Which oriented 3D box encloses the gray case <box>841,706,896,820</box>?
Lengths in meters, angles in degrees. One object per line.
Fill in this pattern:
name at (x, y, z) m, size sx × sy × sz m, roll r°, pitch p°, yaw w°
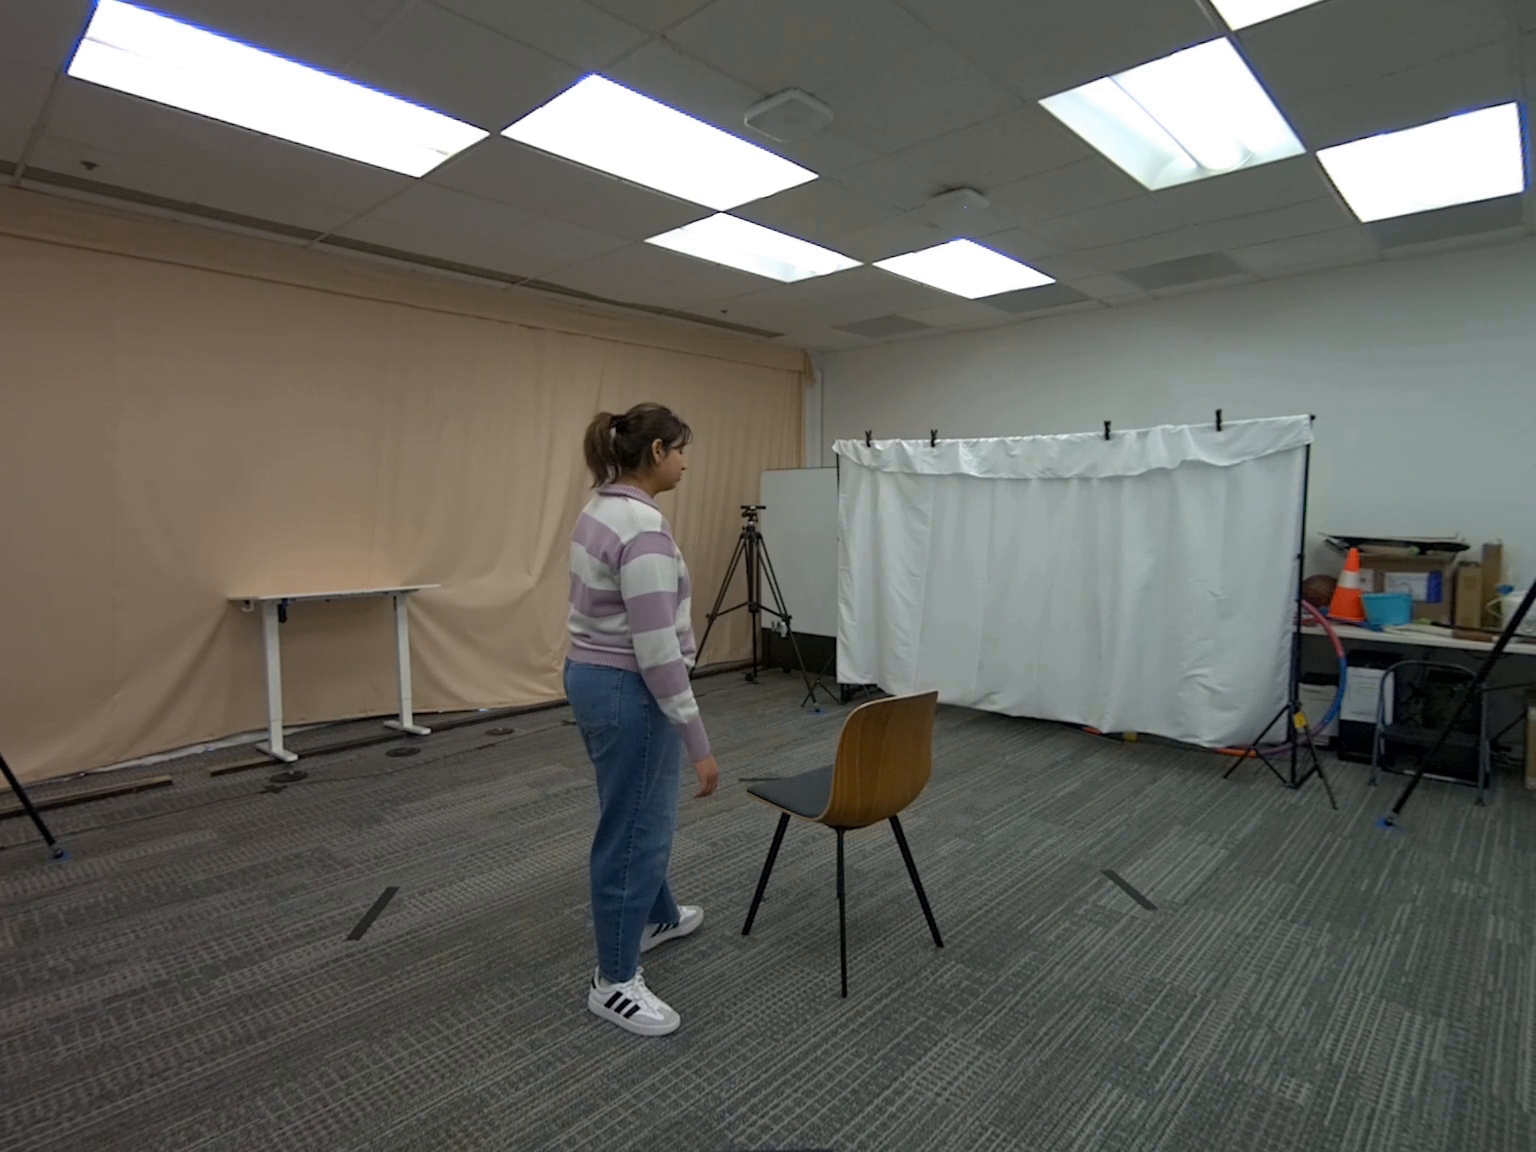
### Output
gray case at (0.311, 0.565, 2.602) m, size 0.106 × 0.260 × 0.253 m, roll 8°, pitch 5°, yaw 13°
